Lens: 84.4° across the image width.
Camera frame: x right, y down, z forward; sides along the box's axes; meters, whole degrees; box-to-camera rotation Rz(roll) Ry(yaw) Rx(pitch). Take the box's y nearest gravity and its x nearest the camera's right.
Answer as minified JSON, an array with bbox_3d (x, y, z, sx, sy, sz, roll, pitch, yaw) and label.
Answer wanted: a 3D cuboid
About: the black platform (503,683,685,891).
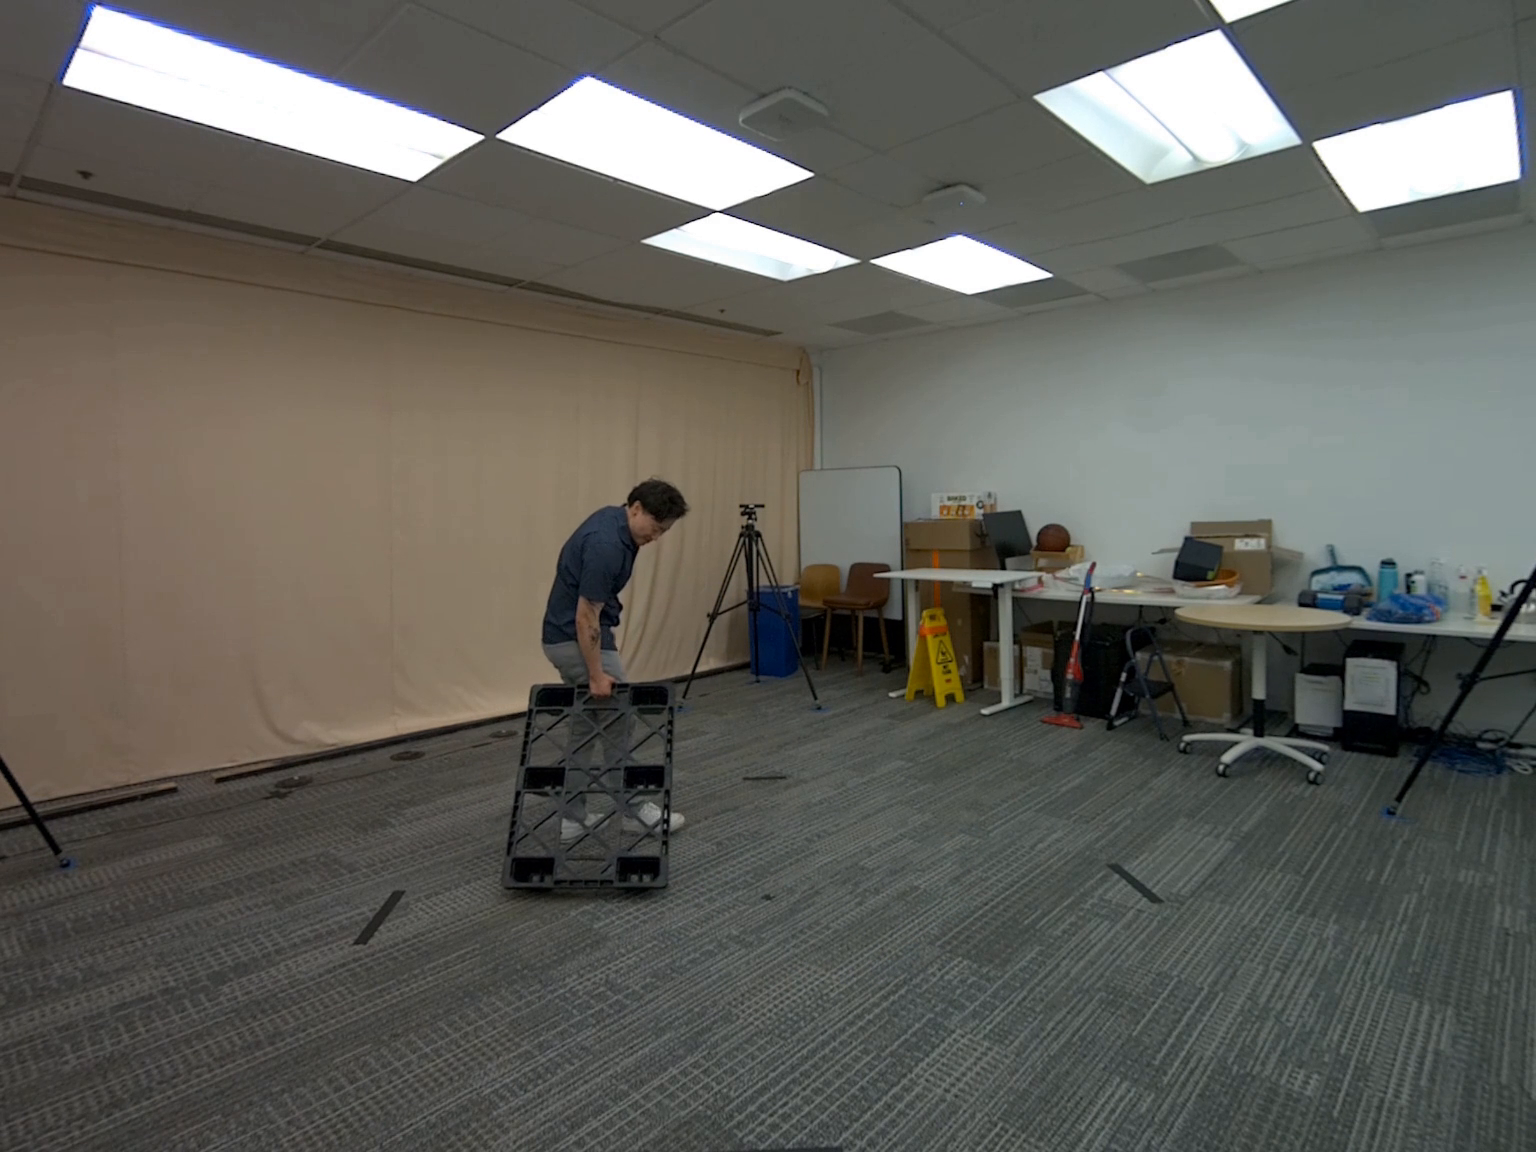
[{"bbox_3d":[-0.662,0.808,3.255,0.607,0.820,0.140,-3,-35,2],"label":"black platform"}]
